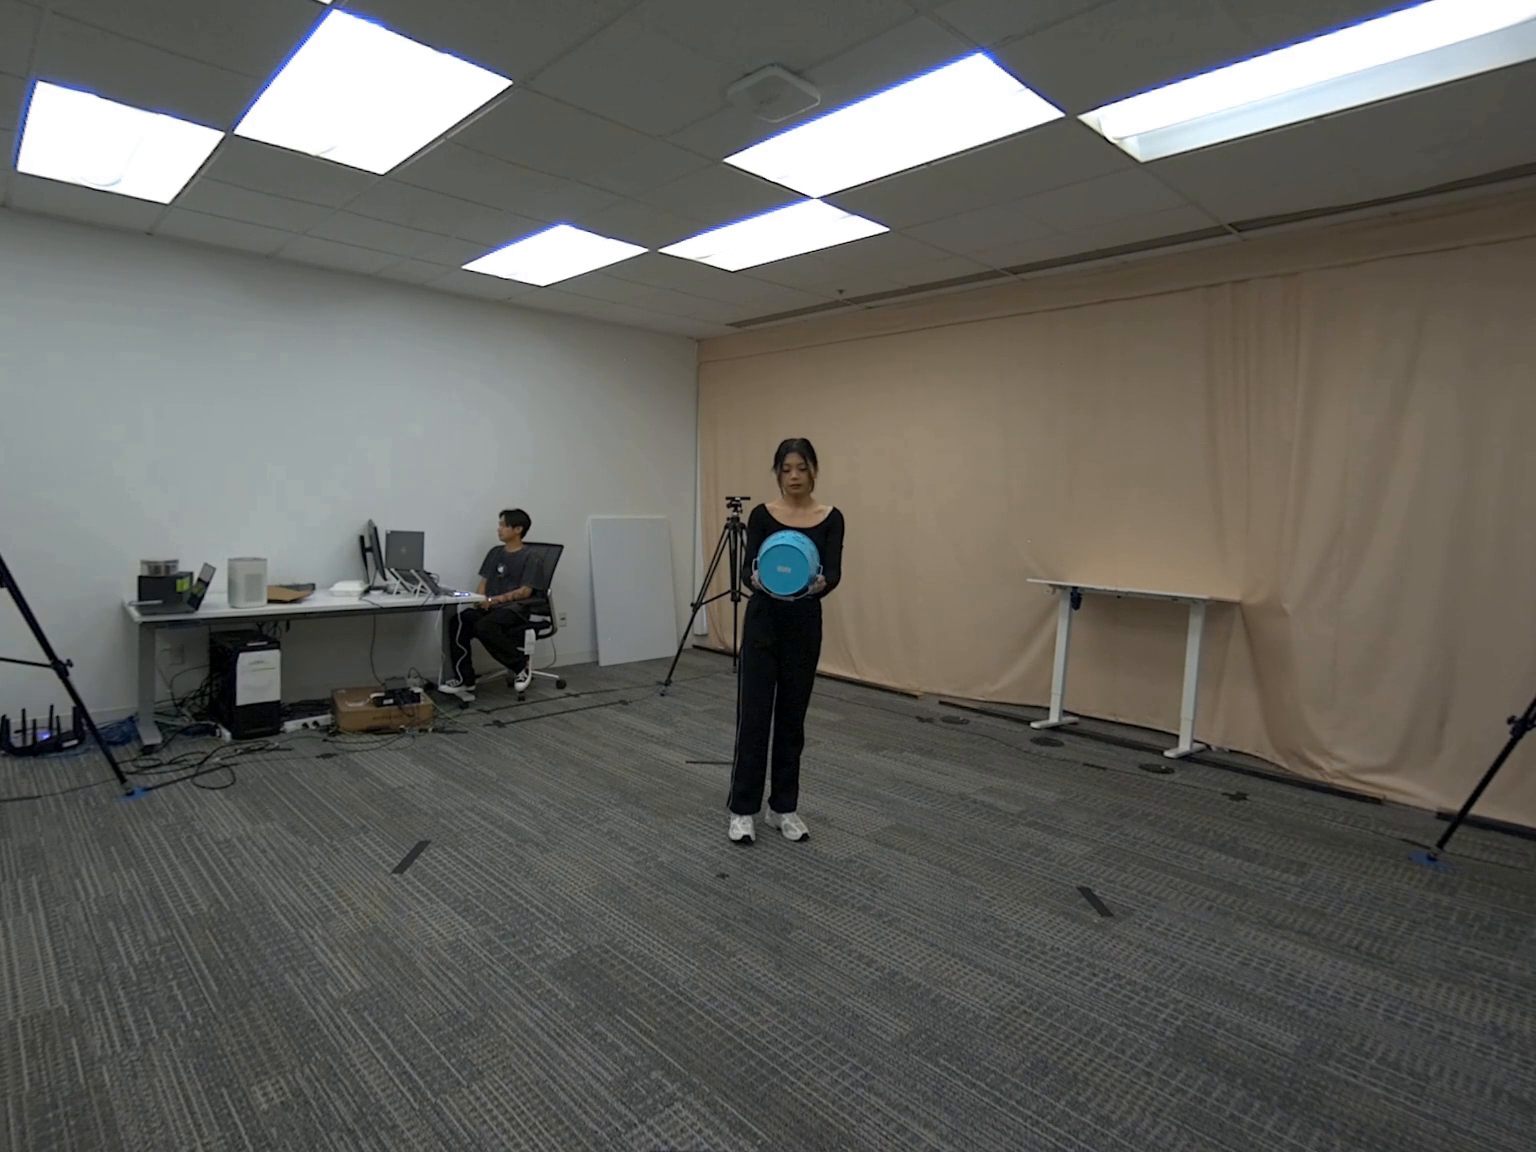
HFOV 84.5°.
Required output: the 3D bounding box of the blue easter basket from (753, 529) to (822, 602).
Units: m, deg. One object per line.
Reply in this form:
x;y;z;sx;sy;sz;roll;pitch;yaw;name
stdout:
0.044;-0.037;3.018;0.245;0.242;0.155;2;7;9;blue easter basket
